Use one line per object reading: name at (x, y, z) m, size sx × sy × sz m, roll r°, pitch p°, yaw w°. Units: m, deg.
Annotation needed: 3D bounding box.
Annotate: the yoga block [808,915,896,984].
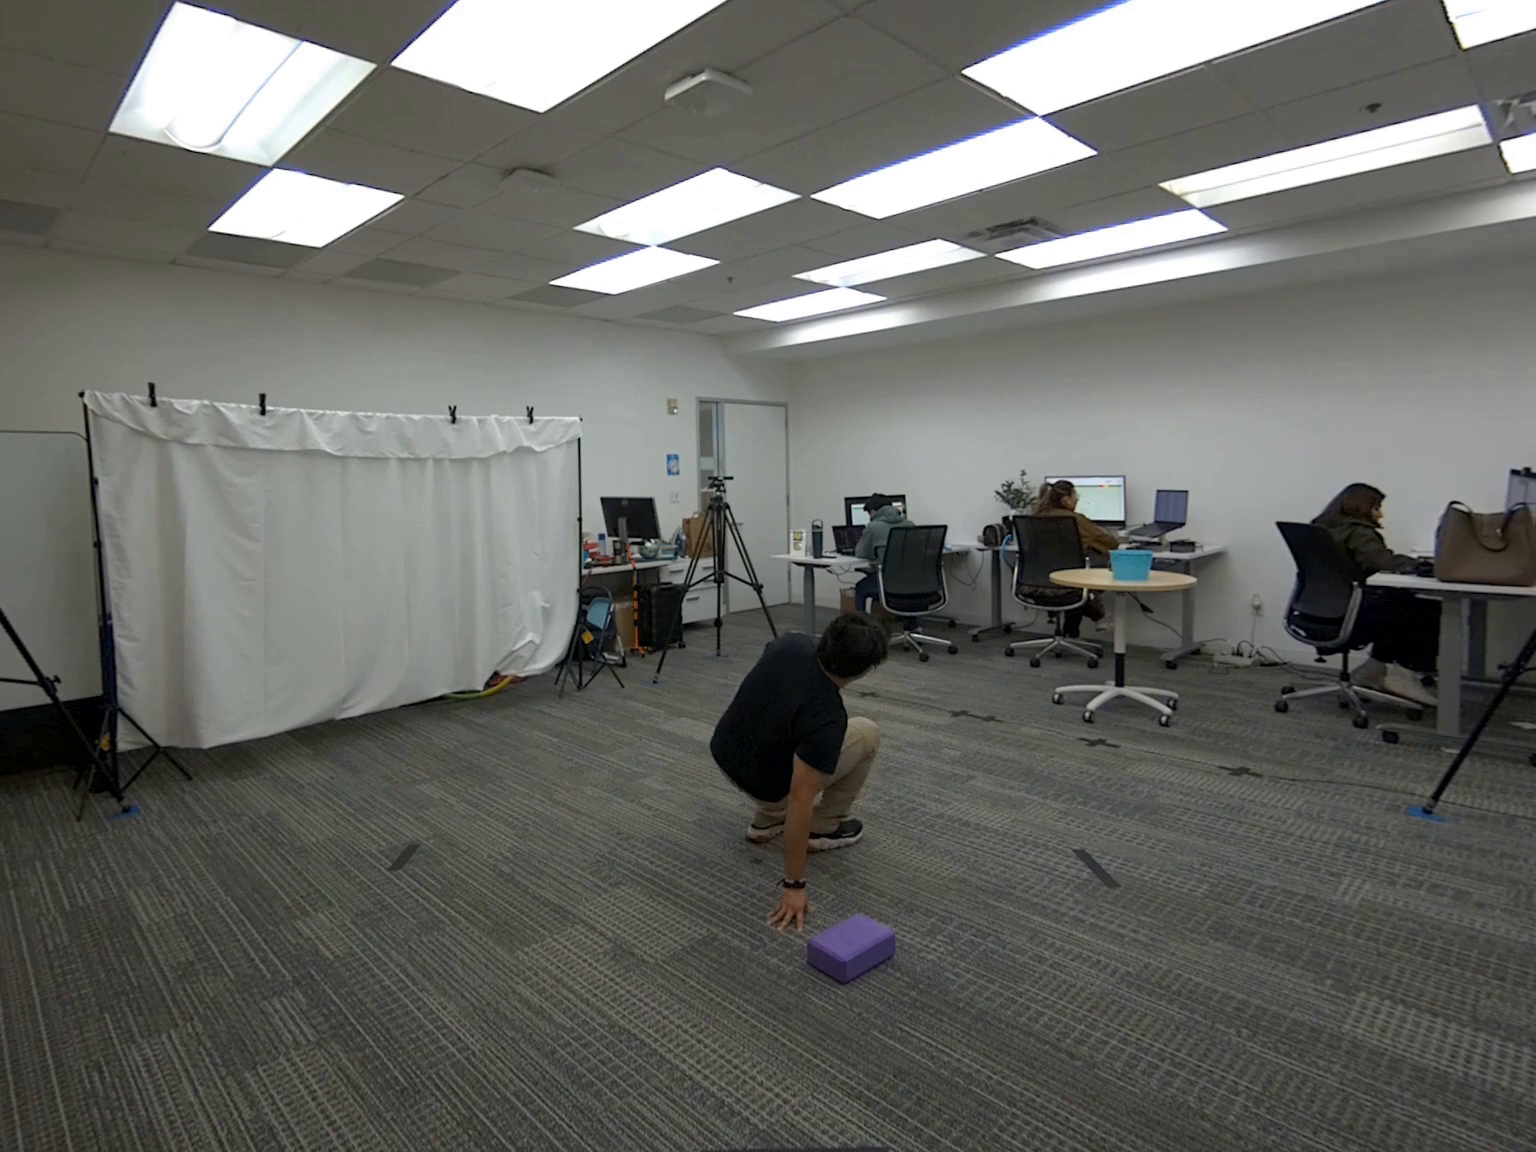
yoga block at (0.245, 1.076, 2.460) m, size 0.223 × 0.076 × 0.154 m, roll -8°, pitch 10°, yaw -43°
